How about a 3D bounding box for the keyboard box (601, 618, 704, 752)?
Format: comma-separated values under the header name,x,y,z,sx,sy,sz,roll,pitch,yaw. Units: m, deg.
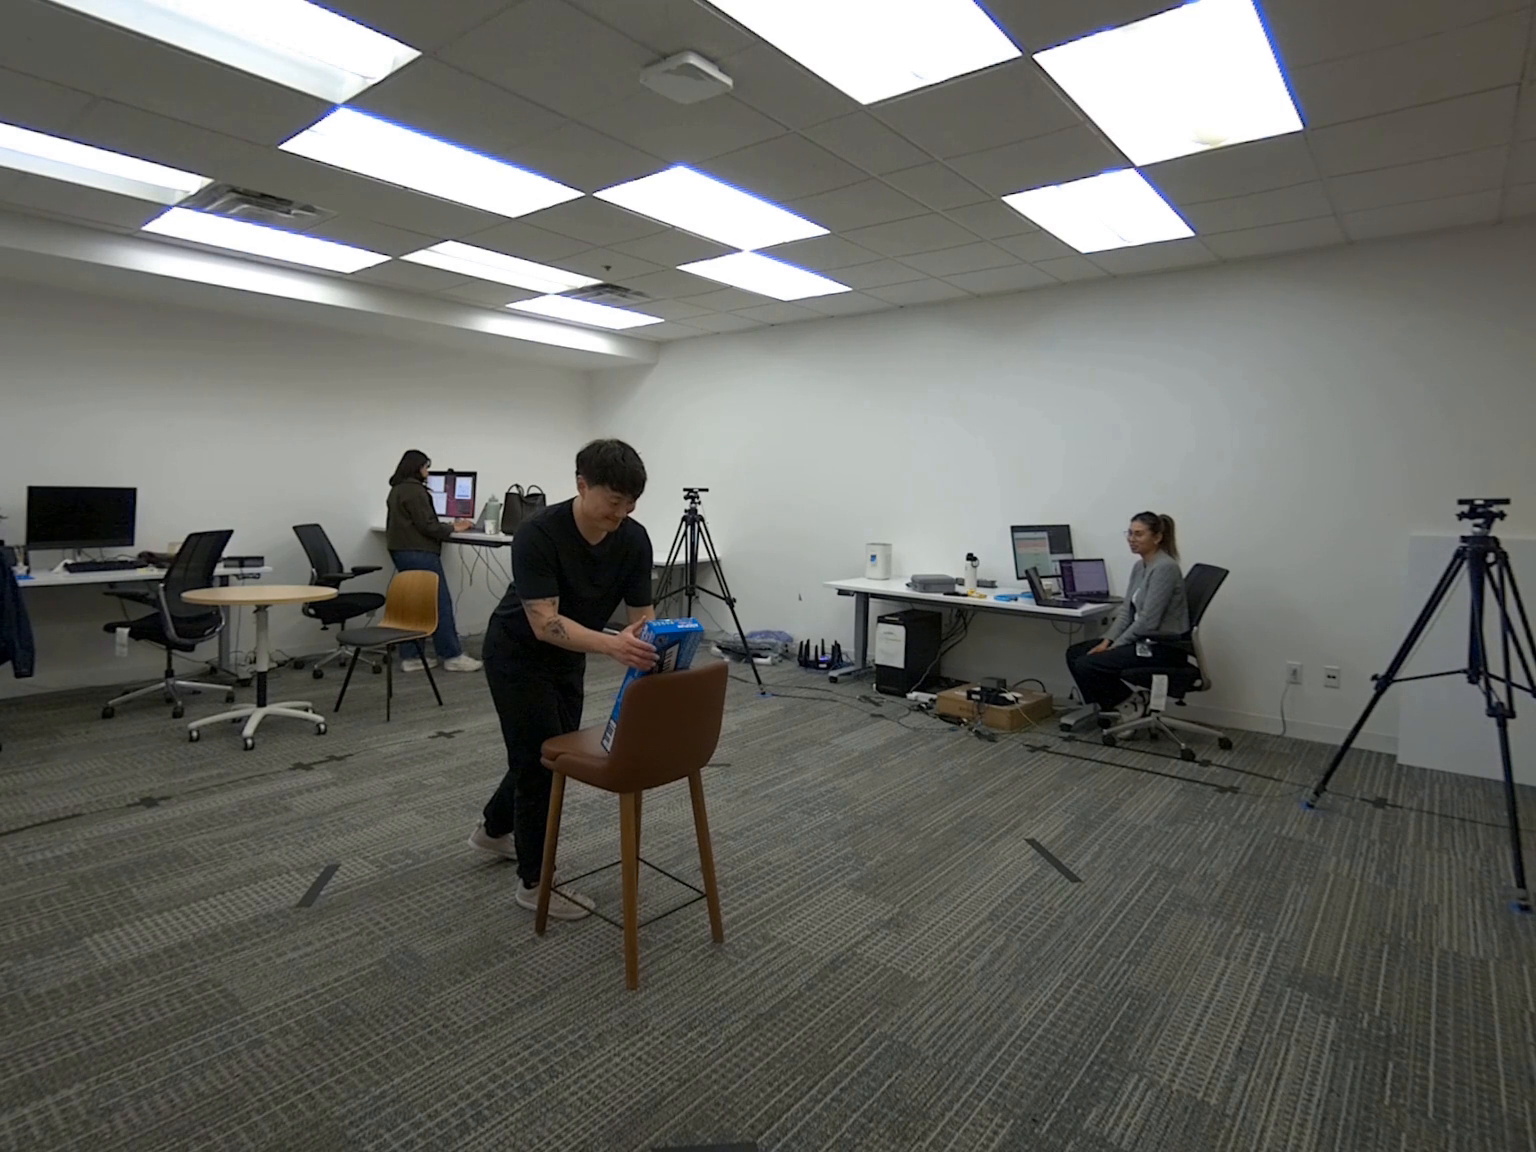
name,x,y,z,sx,sy,sz,roll,pitch,yaw
keyboard box,-0.346,0.316,2.443,0.170,0.432,0.061,0,32,-41
